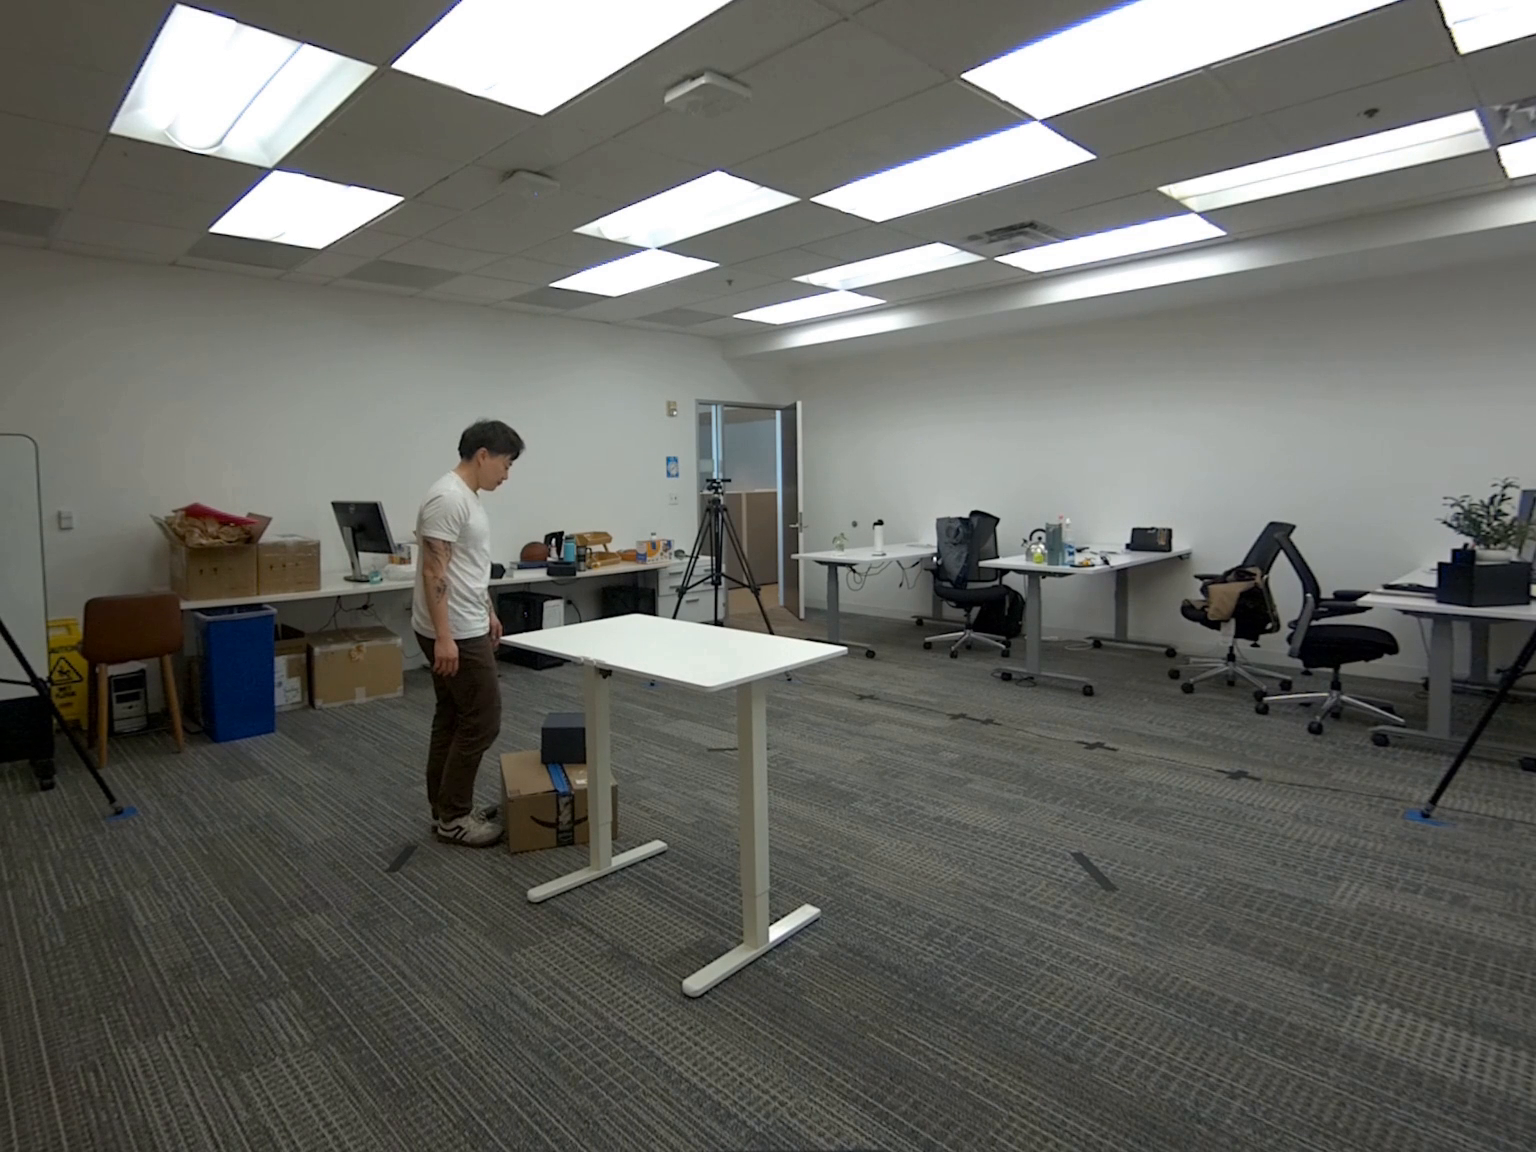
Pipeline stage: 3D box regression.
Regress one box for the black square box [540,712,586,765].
[{"bbox_3d":[-0.851,0.692,3.690,0.216,0.155,0.230,0,6,-5],"label":"black square box"}]
